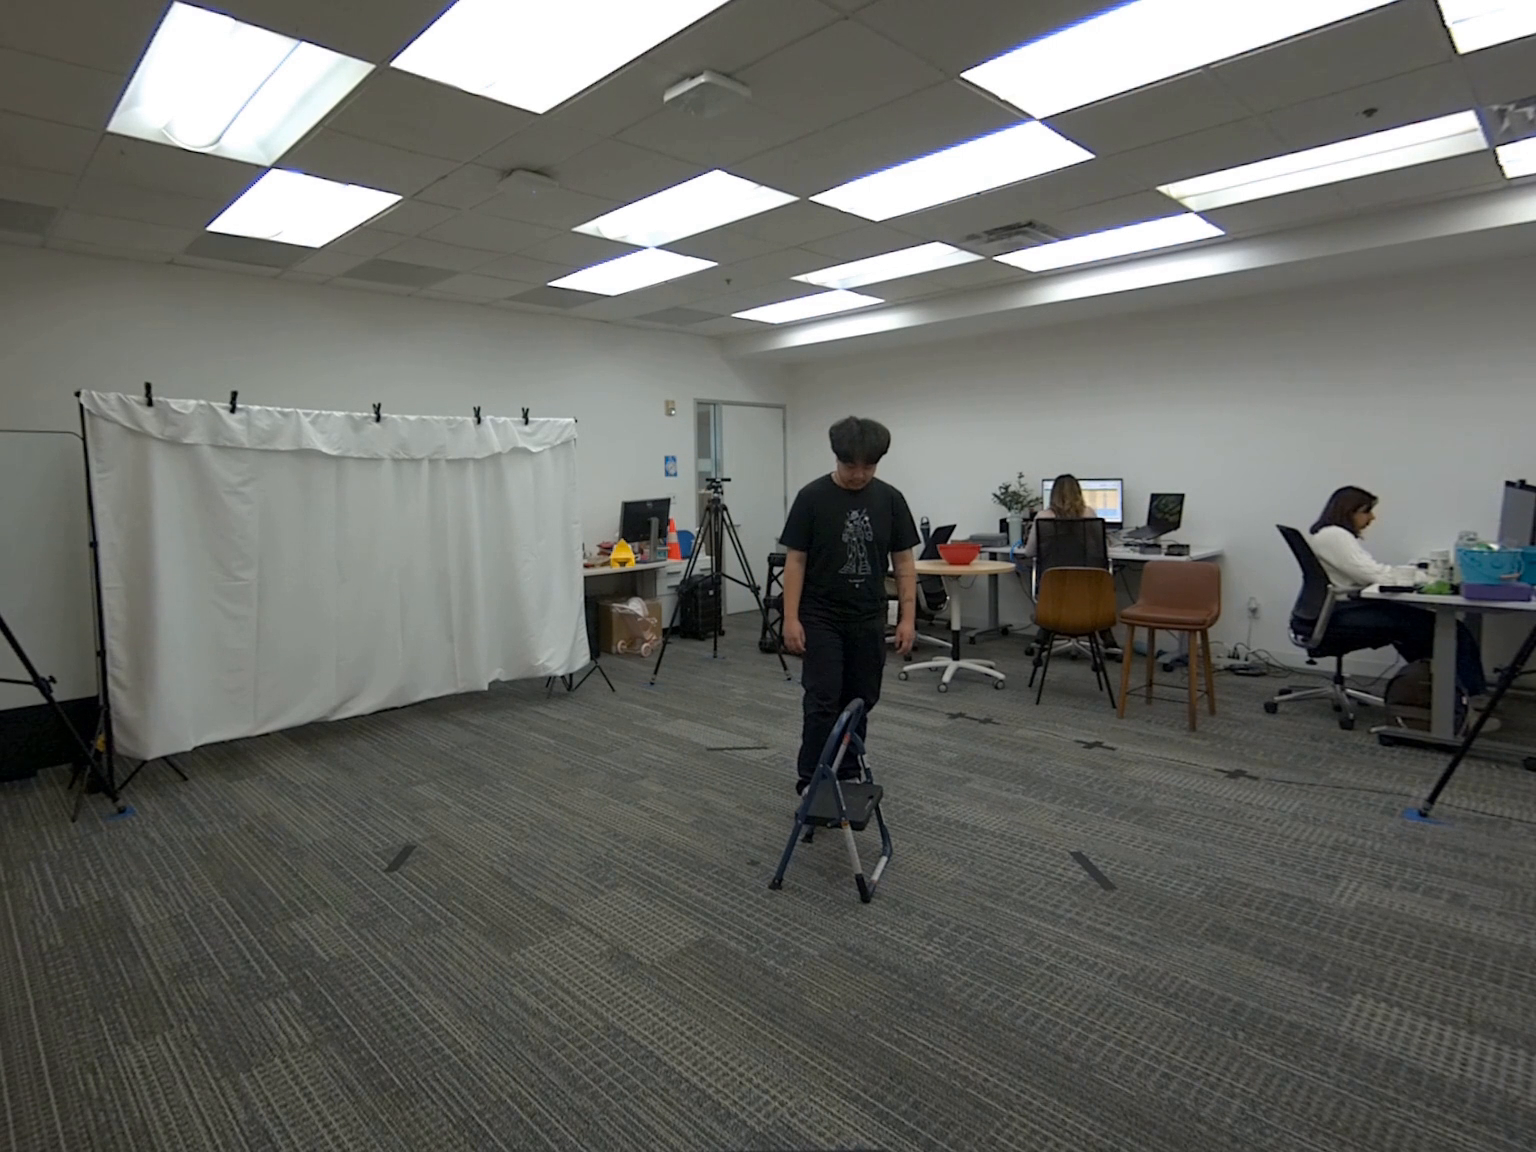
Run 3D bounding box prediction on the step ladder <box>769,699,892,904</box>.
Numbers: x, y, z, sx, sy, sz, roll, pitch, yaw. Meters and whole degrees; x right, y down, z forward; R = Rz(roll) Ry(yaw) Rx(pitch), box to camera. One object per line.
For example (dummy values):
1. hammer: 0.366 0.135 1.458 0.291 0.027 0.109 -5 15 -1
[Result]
1. step ladder: 0.228 0.747 3.020 0.356 0.604 0.424 0 4 19
